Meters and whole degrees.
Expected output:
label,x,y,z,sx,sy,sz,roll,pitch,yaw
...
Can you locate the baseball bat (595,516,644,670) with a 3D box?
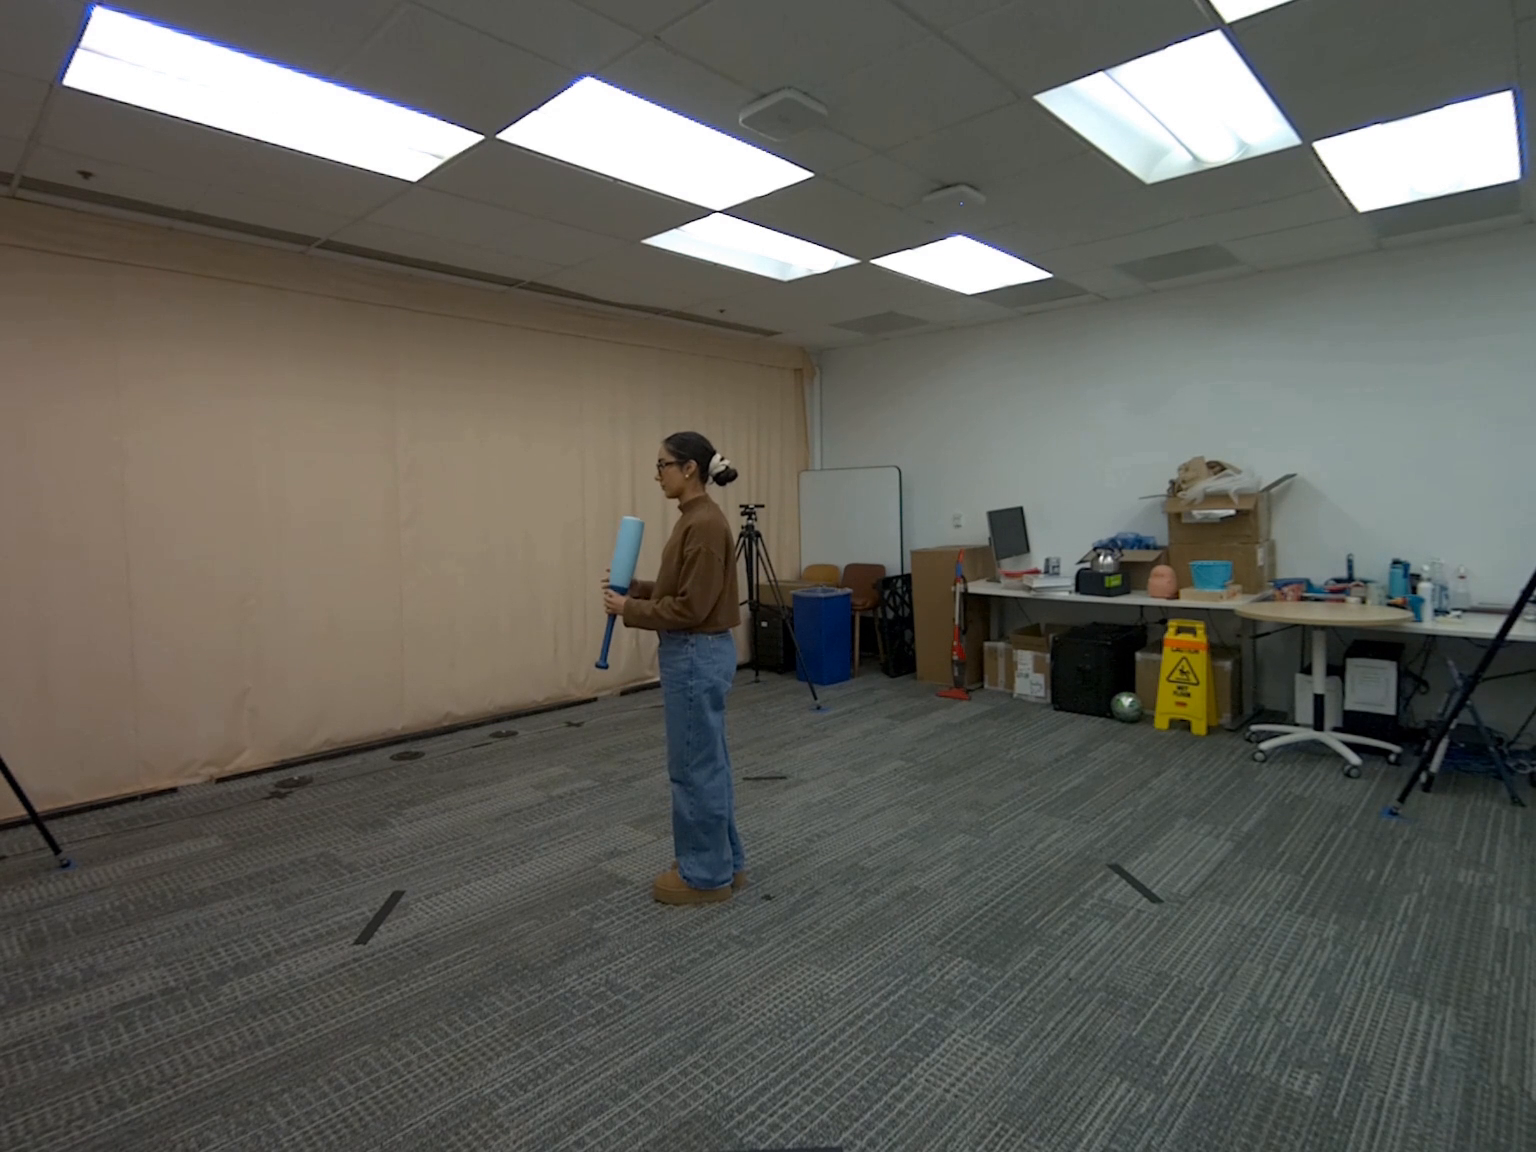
label,x,y,z,sx,sy,sz,roll,pitch,yaw
baseball bat,-0.532,0.071,2.946,0.089,0.544,0.089,10,-6,-1
